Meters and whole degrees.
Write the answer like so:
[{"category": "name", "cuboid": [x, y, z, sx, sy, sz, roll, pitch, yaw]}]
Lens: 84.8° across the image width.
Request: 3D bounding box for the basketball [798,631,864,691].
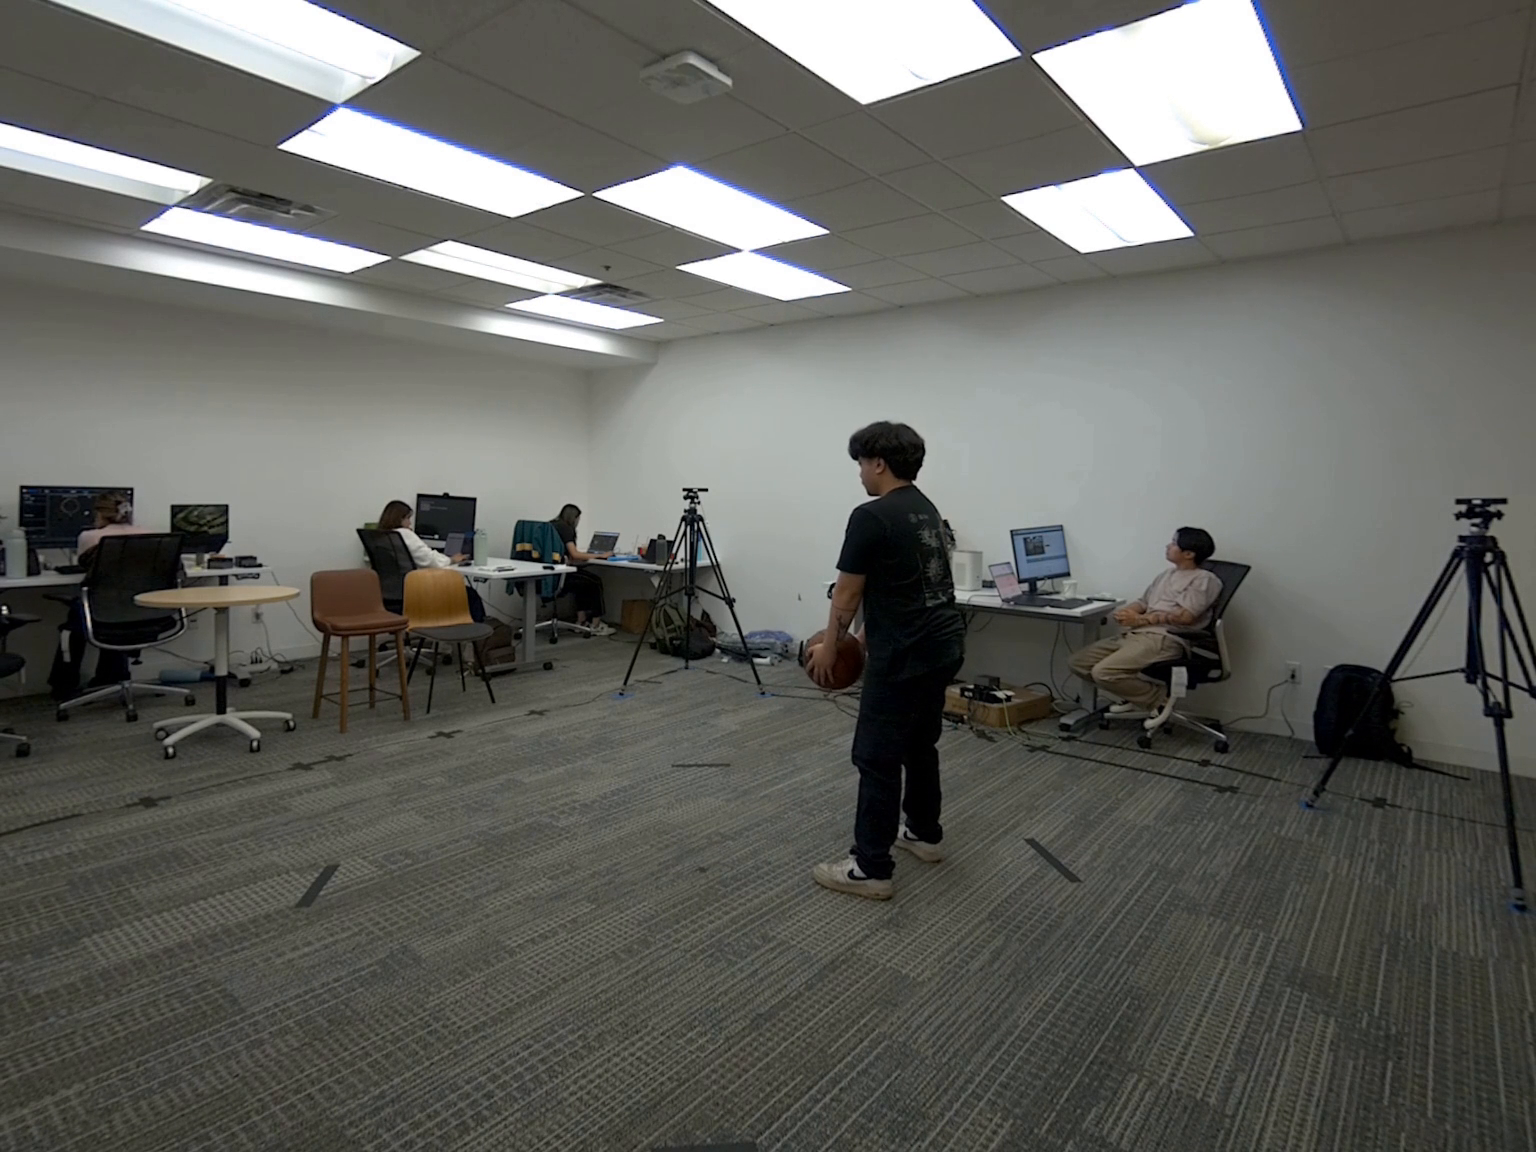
[{"category": "basketball", "cuboid": [0.243, 0.310, 3.299, 0.235, 0.235, 0.237, 1, 4, -2]}]
